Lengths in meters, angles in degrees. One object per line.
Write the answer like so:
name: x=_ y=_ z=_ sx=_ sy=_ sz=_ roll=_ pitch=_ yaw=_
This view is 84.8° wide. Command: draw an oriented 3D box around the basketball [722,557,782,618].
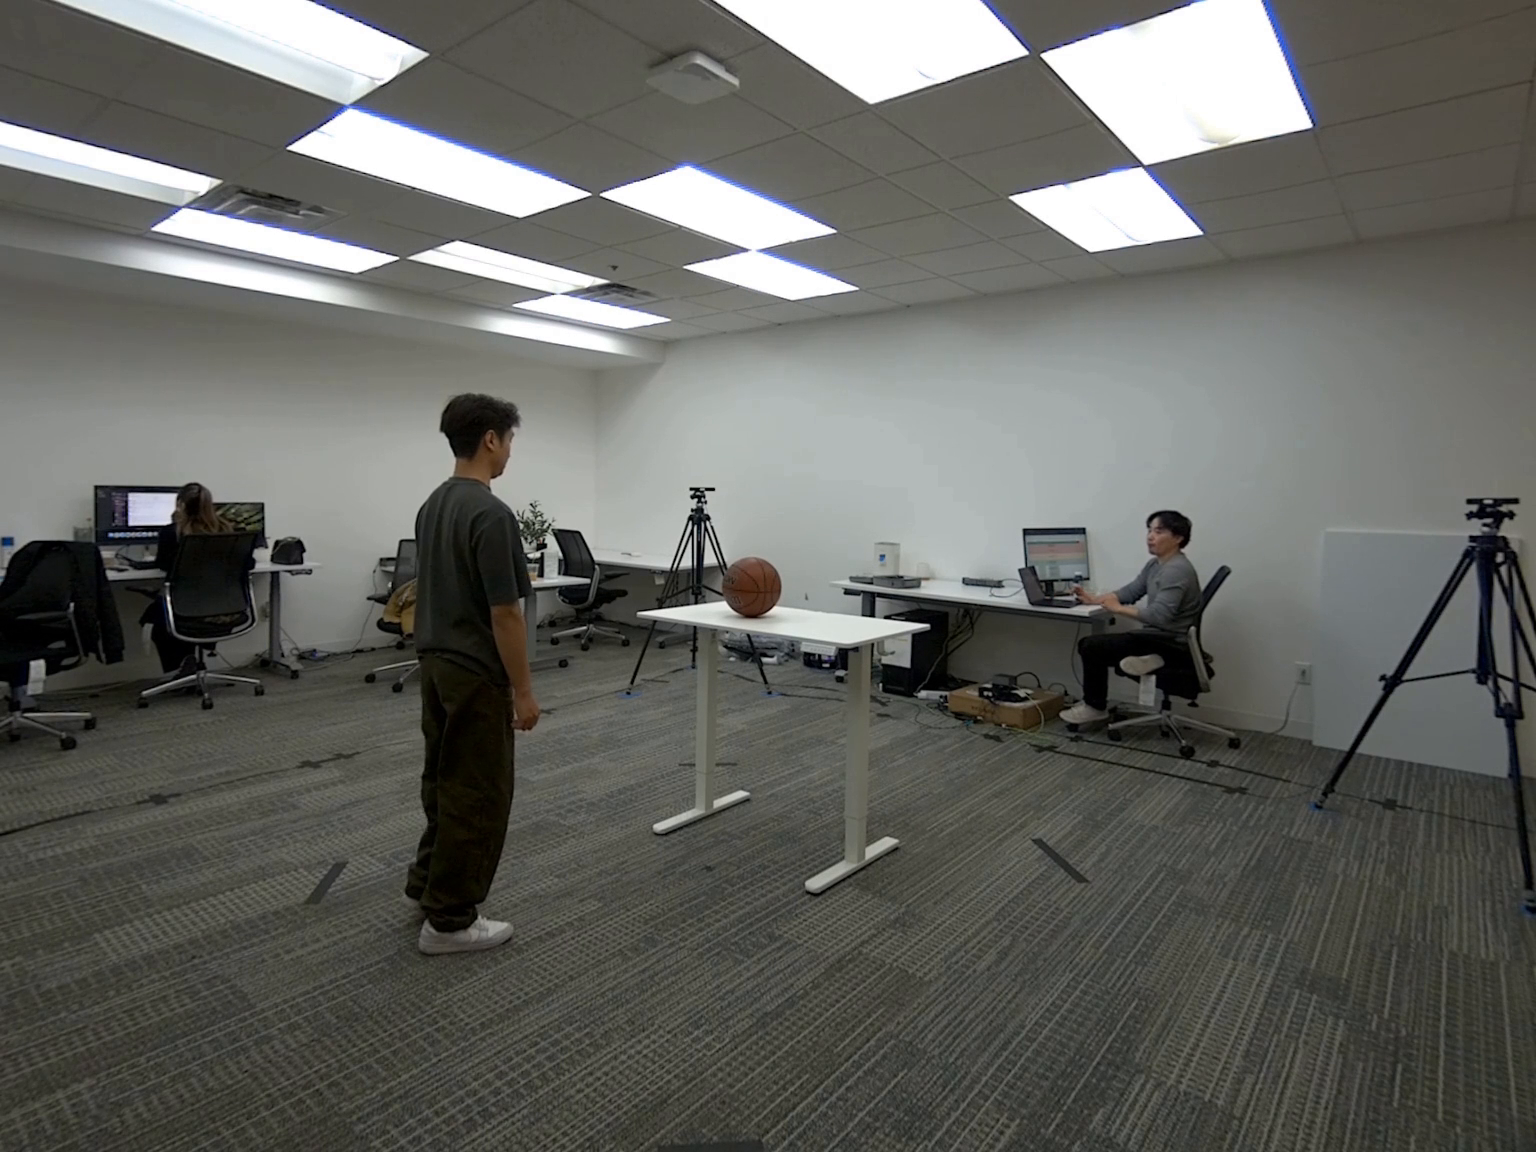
basketball: x=-0.071 y=0.040 z=3.403 sx=0.235 sy=0.235 sz=0.237 roll=1 pitch=4 yaw=-2
